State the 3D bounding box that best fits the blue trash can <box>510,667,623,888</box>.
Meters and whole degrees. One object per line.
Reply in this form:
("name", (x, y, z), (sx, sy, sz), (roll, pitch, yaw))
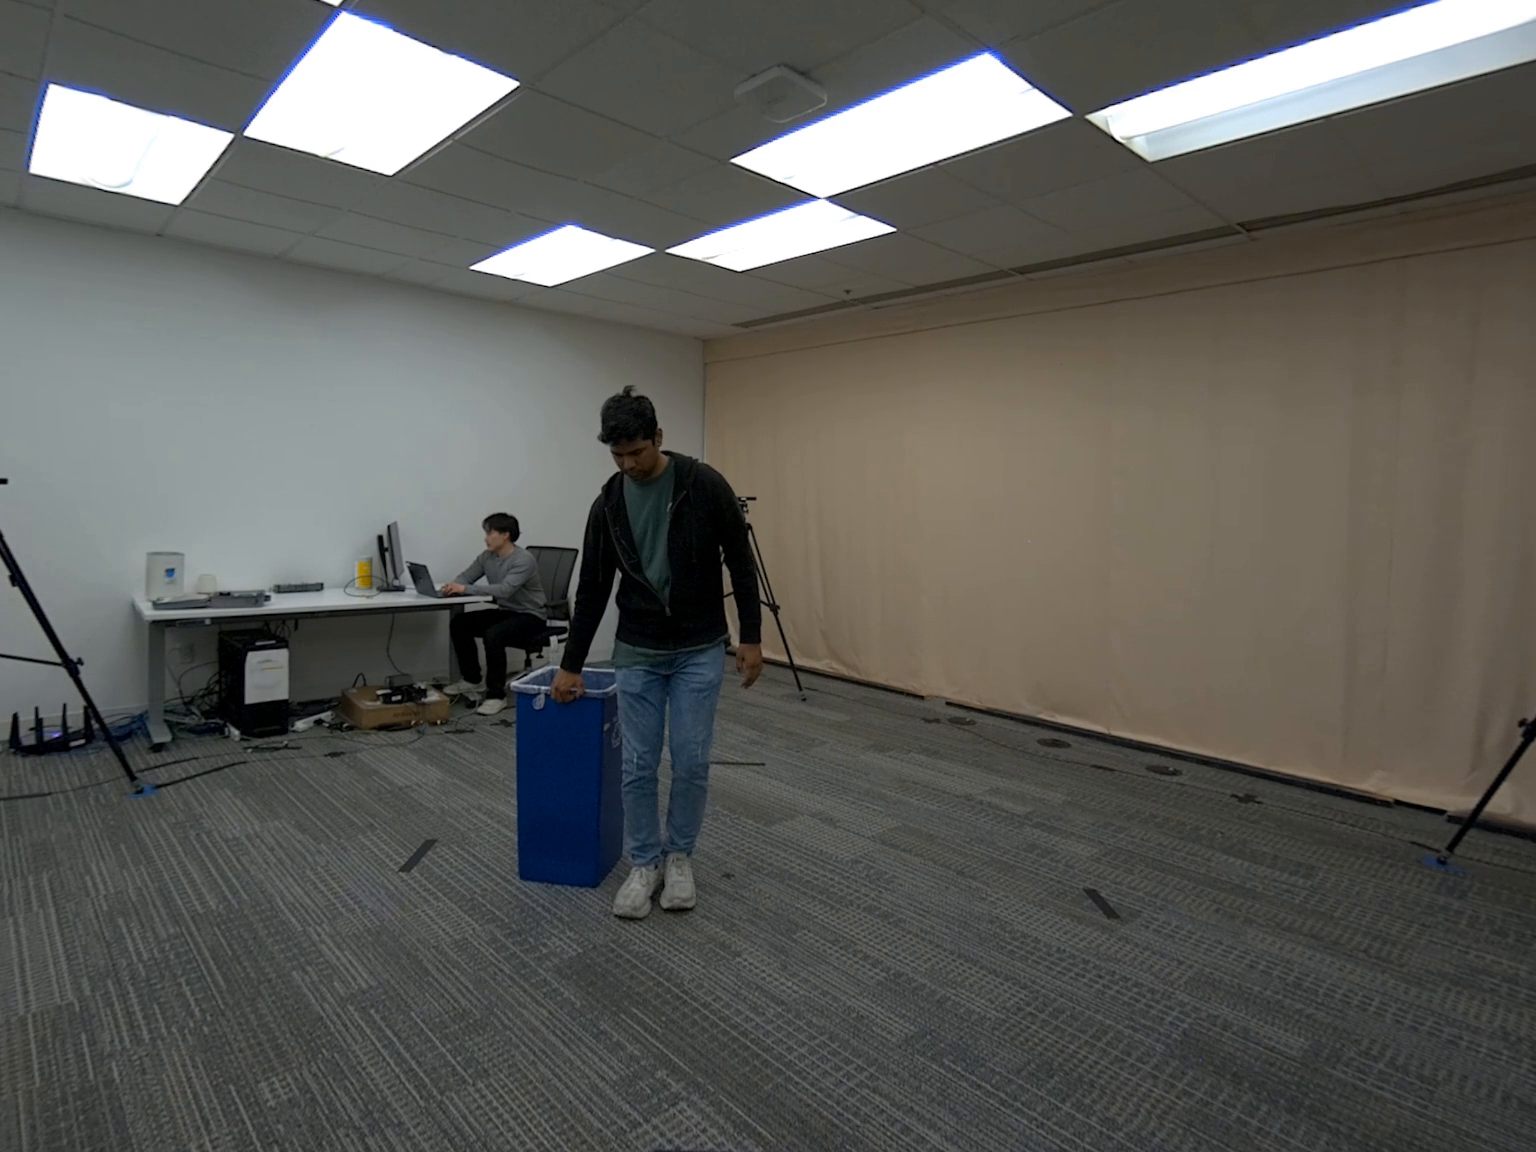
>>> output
("blue trash can", (-0.722, 0.732, 3.141), (0.378, 0.712, 0.375), (1, 3, 11))
